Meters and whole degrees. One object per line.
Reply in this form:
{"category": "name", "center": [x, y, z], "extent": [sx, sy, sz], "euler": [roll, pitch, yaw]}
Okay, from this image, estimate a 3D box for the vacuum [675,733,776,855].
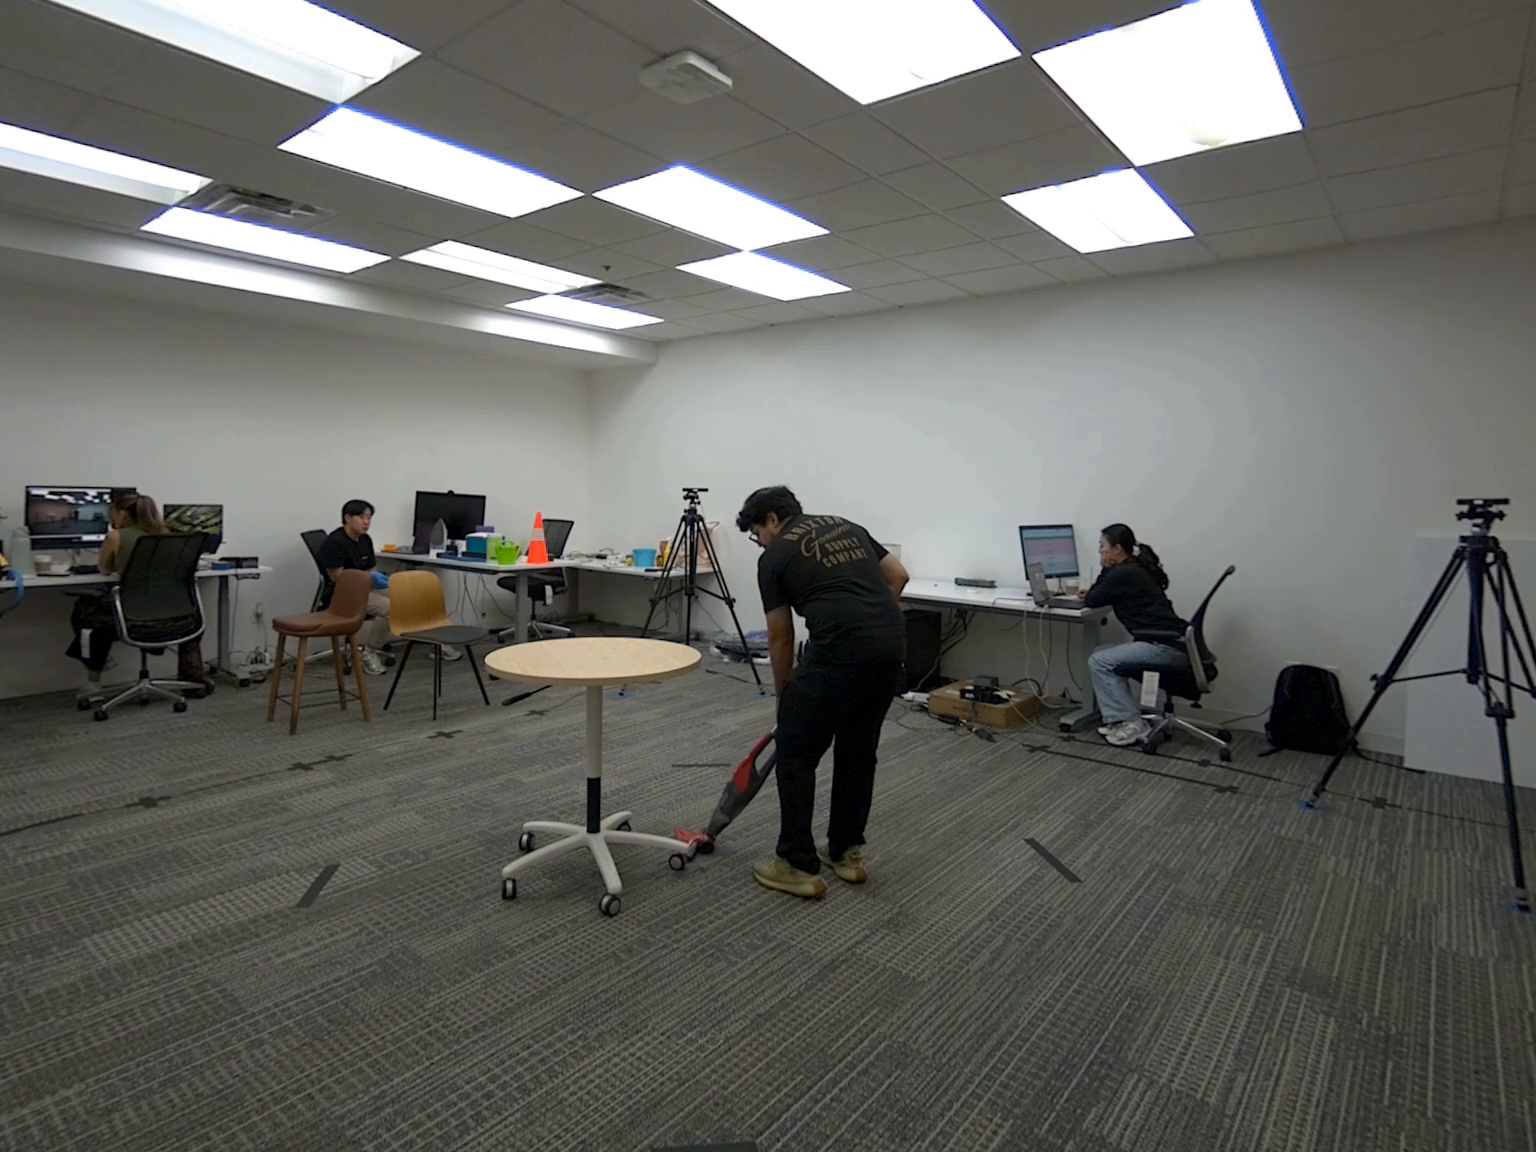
{"category": "vacuum", "center": [0.038, 0.628, 3.300], "extent": [0.143, 1.049, 0.254], "euler": [40, -2, -5]}
